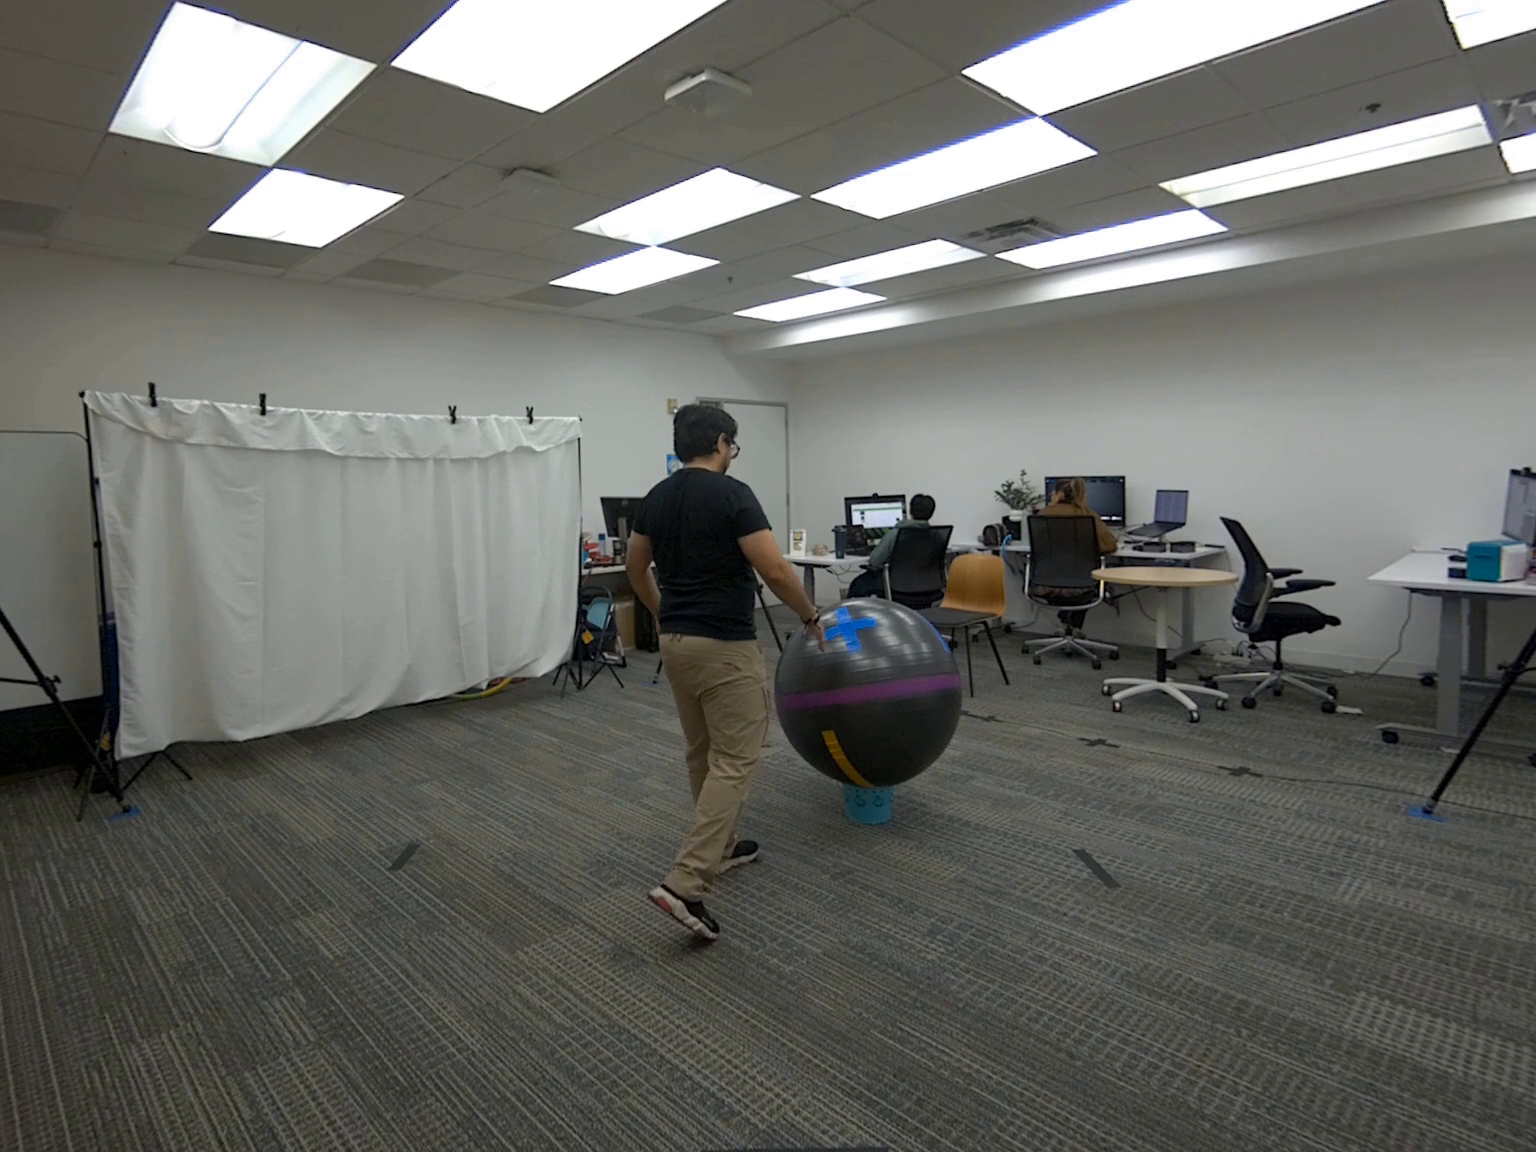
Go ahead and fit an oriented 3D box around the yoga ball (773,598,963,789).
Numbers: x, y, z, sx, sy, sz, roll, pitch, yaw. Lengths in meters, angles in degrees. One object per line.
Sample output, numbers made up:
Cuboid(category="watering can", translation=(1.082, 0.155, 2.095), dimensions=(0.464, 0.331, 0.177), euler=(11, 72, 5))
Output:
Cuboid(category="yoga ball", translation=(0.402, 0.473, 3.504), dimensions=(0.757, 0.755, 0.762), euler=(-1, 5, -2))
